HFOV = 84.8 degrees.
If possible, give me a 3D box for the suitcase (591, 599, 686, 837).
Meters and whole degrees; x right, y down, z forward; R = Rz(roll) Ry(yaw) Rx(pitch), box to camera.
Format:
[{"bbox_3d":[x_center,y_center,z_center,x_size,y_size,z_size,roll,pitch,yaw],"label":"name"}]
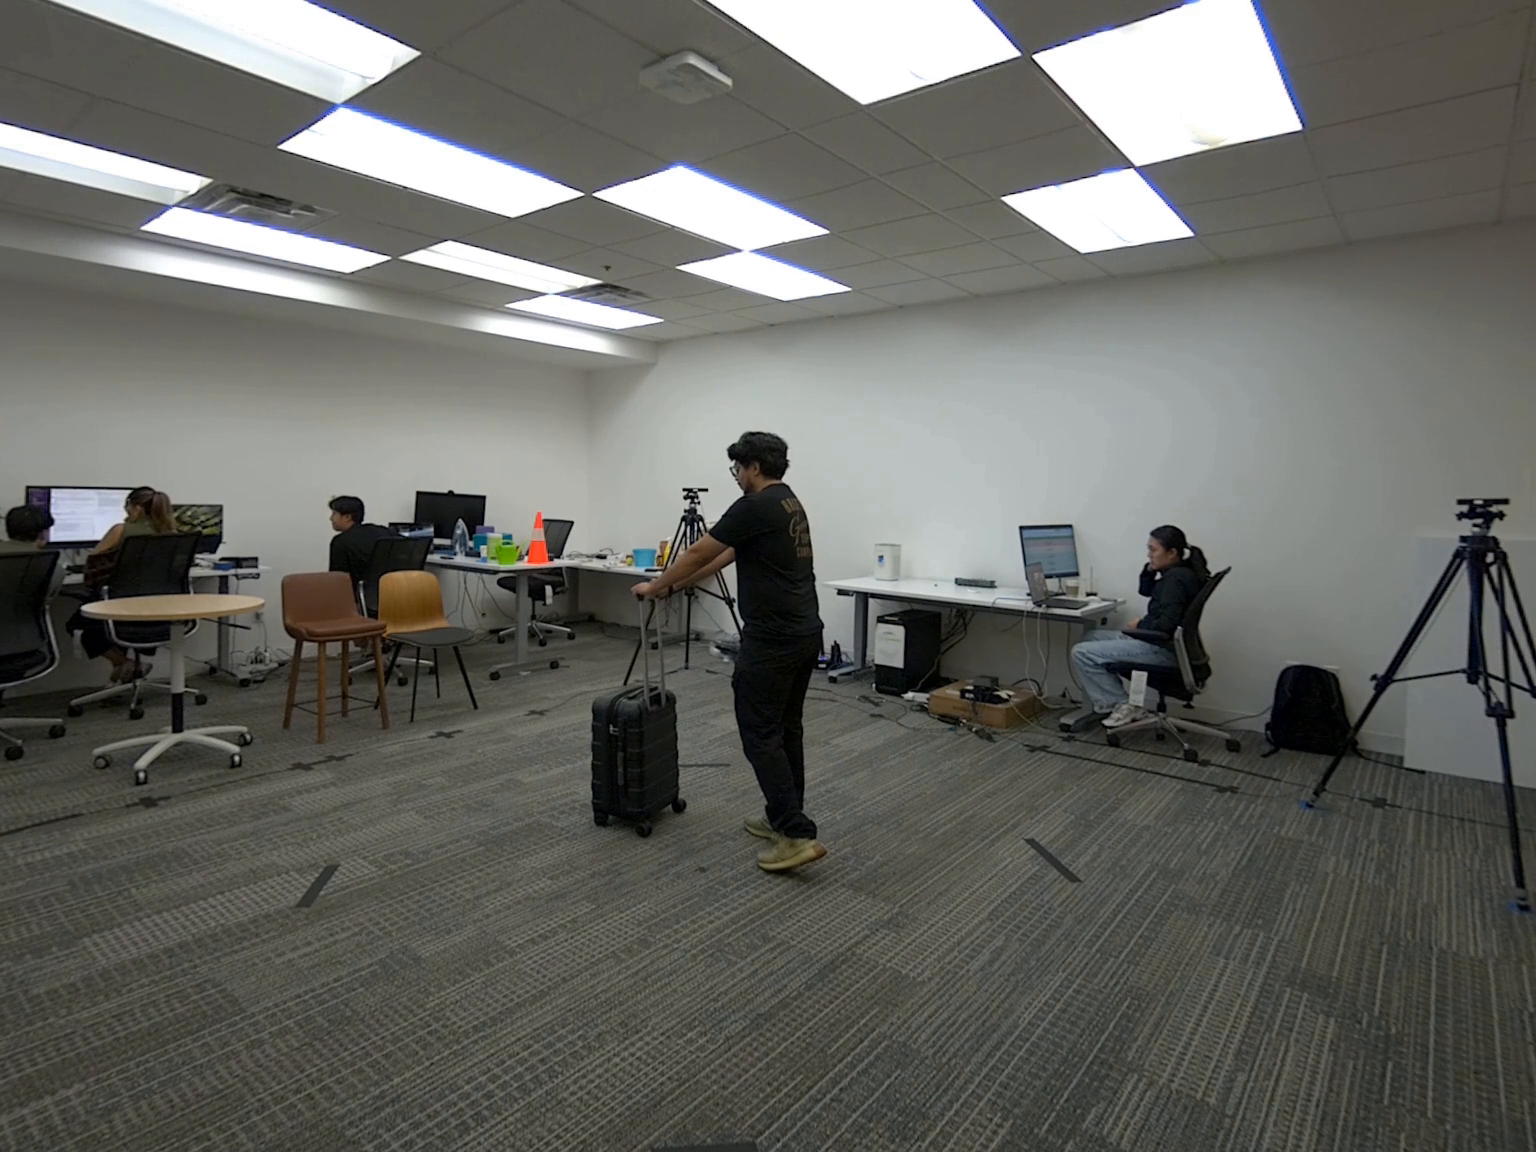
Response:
[{"bbox_3d":[-0.584,0.545,3.583,0.263,0.978,0.375,-4,1,25],"label":"suitcase"}]
